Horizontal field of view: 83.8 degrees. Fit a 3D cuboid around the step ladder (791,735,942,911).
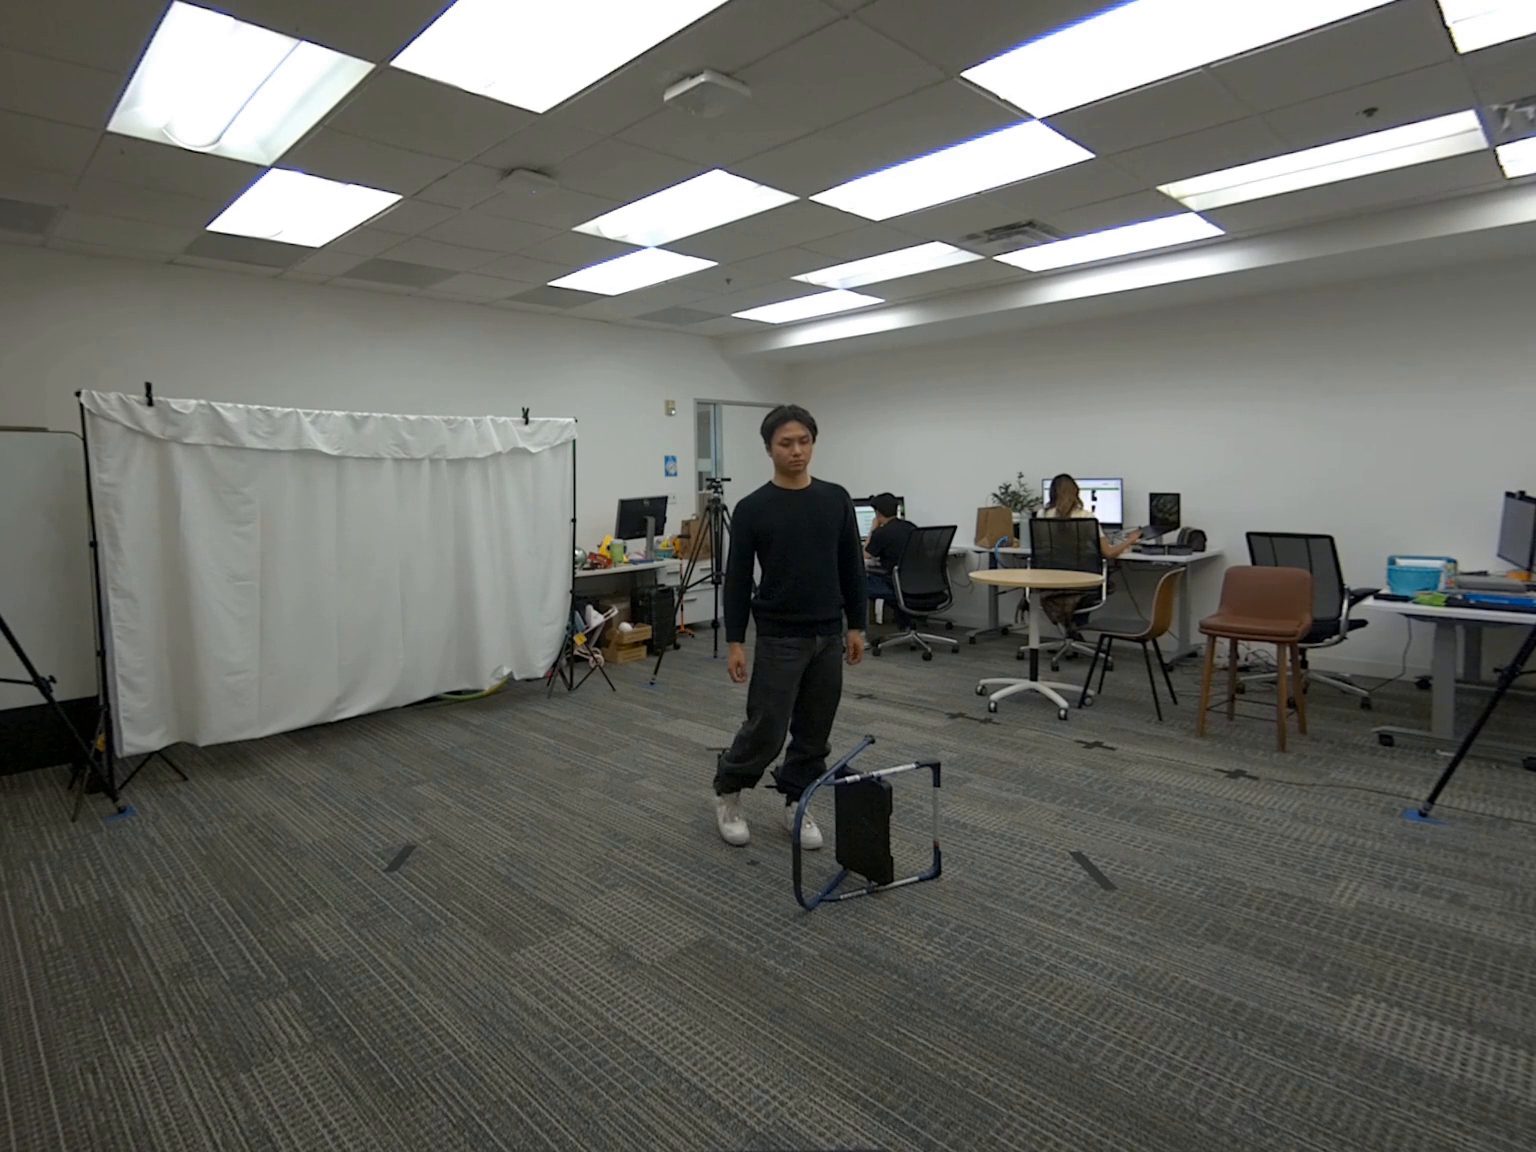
[{"bbox_3d":[0.271,0.856,2.903,0.591,0.428,0.360,-7,7,-39],"label":"step ladder"}]
